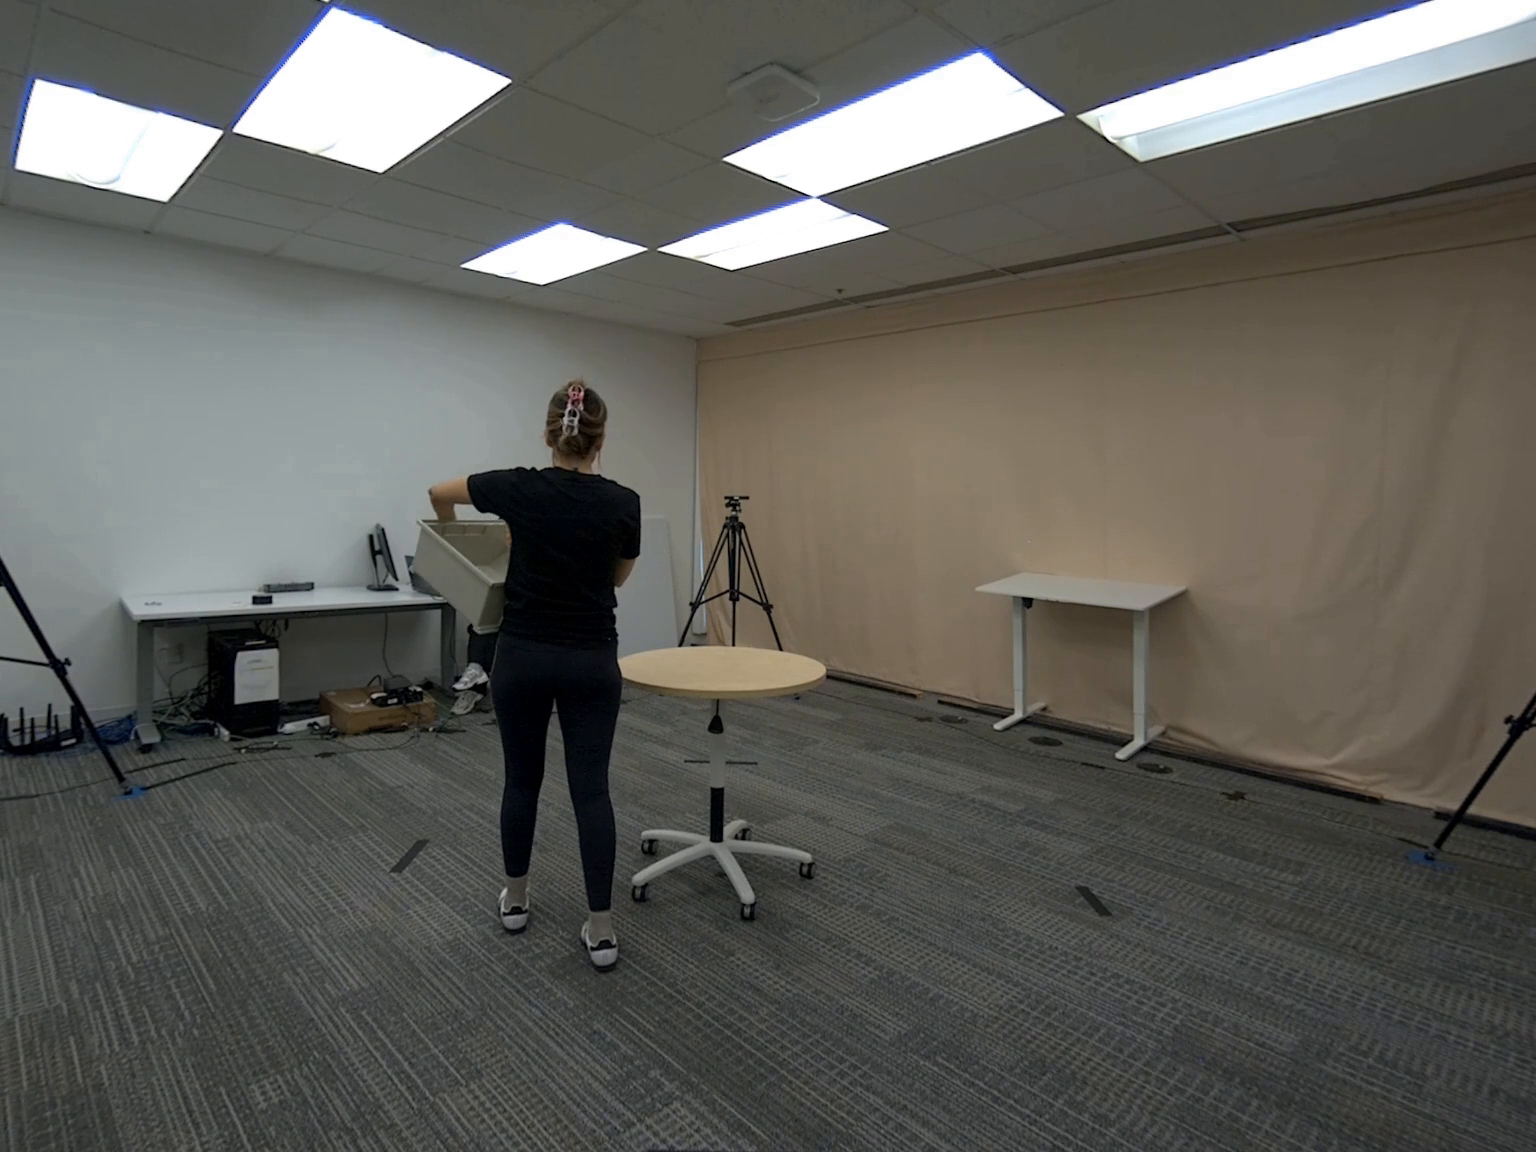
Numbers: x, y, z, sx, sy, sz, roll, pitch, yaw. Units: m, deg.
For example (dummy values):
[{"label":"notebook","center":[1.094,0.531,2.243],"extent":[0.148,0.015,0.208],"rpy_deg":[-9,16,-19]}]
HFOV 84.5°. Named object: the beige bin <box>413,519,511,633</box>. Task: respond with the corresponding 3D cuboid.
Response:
[{"label":"beige bin","center":[-0.884,-0.005,2.731],"extent":[0.434,0.187,0.369],"rpy_deg":[33,21,30]}]
